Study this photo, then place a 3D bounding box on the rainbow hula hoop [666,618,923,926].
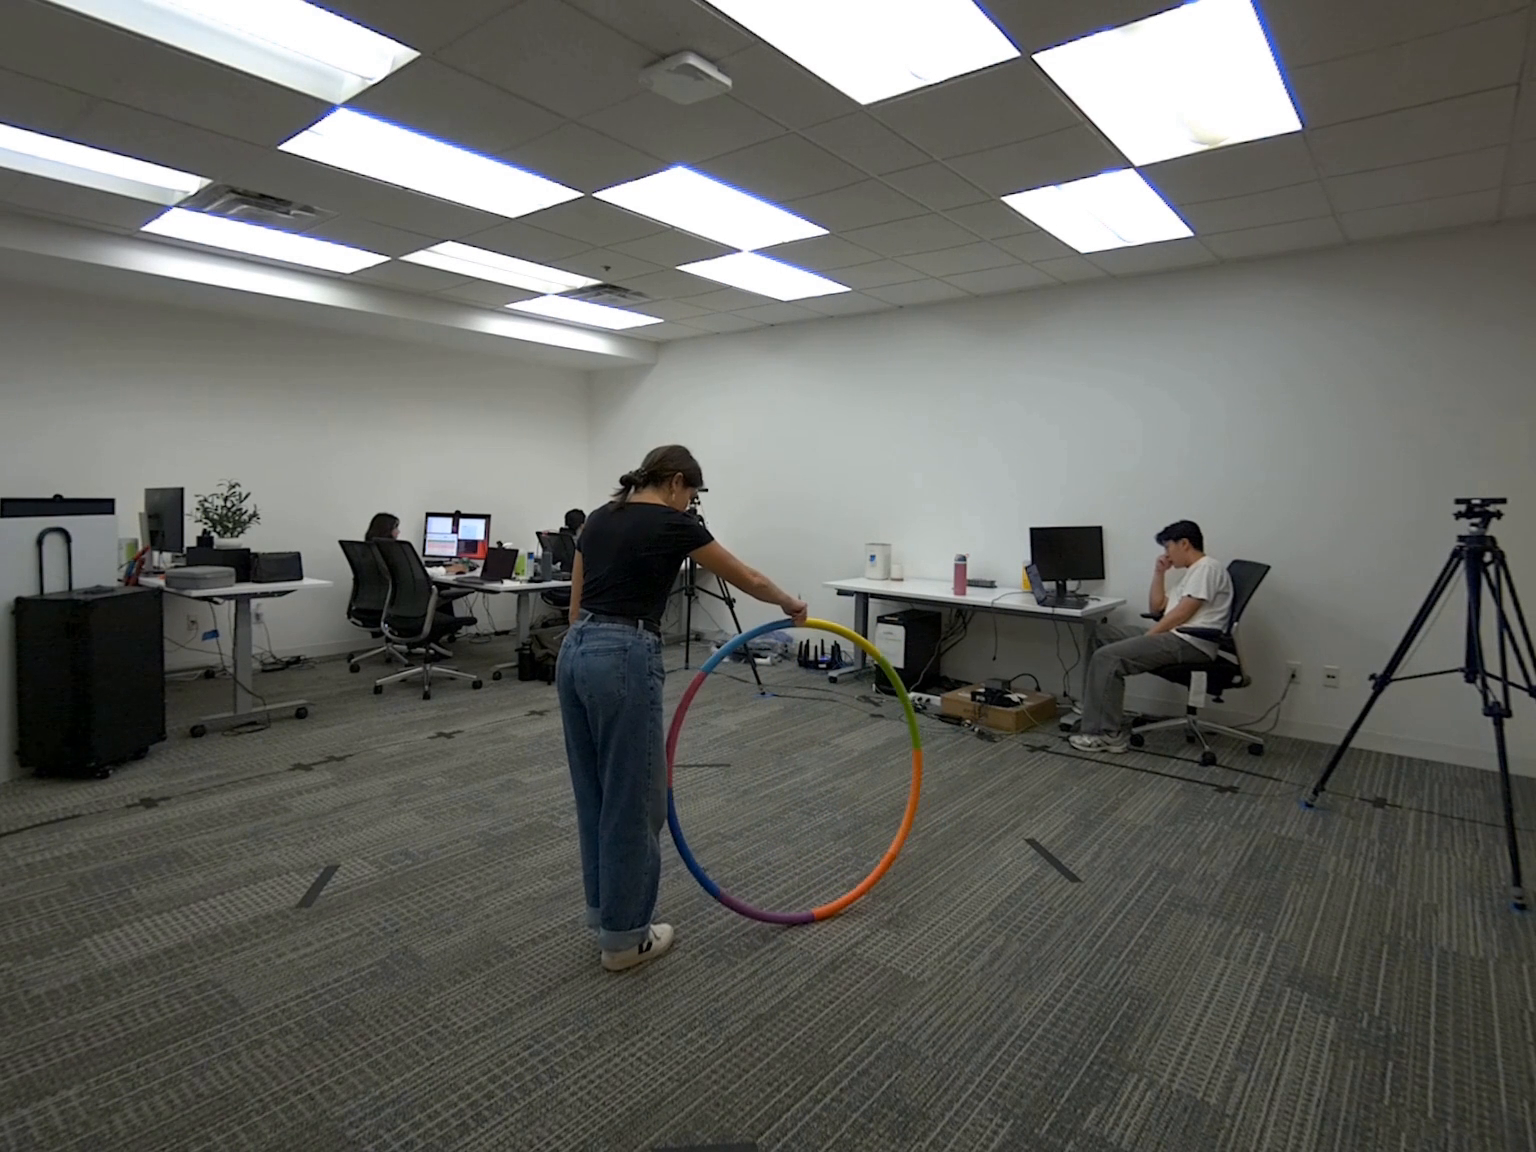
[{"bbox_3d":[0.118,0.627,2.793,0.954,0.984,0.036,-1,-6,-27],"label":"rainbow hula hoop"}]
